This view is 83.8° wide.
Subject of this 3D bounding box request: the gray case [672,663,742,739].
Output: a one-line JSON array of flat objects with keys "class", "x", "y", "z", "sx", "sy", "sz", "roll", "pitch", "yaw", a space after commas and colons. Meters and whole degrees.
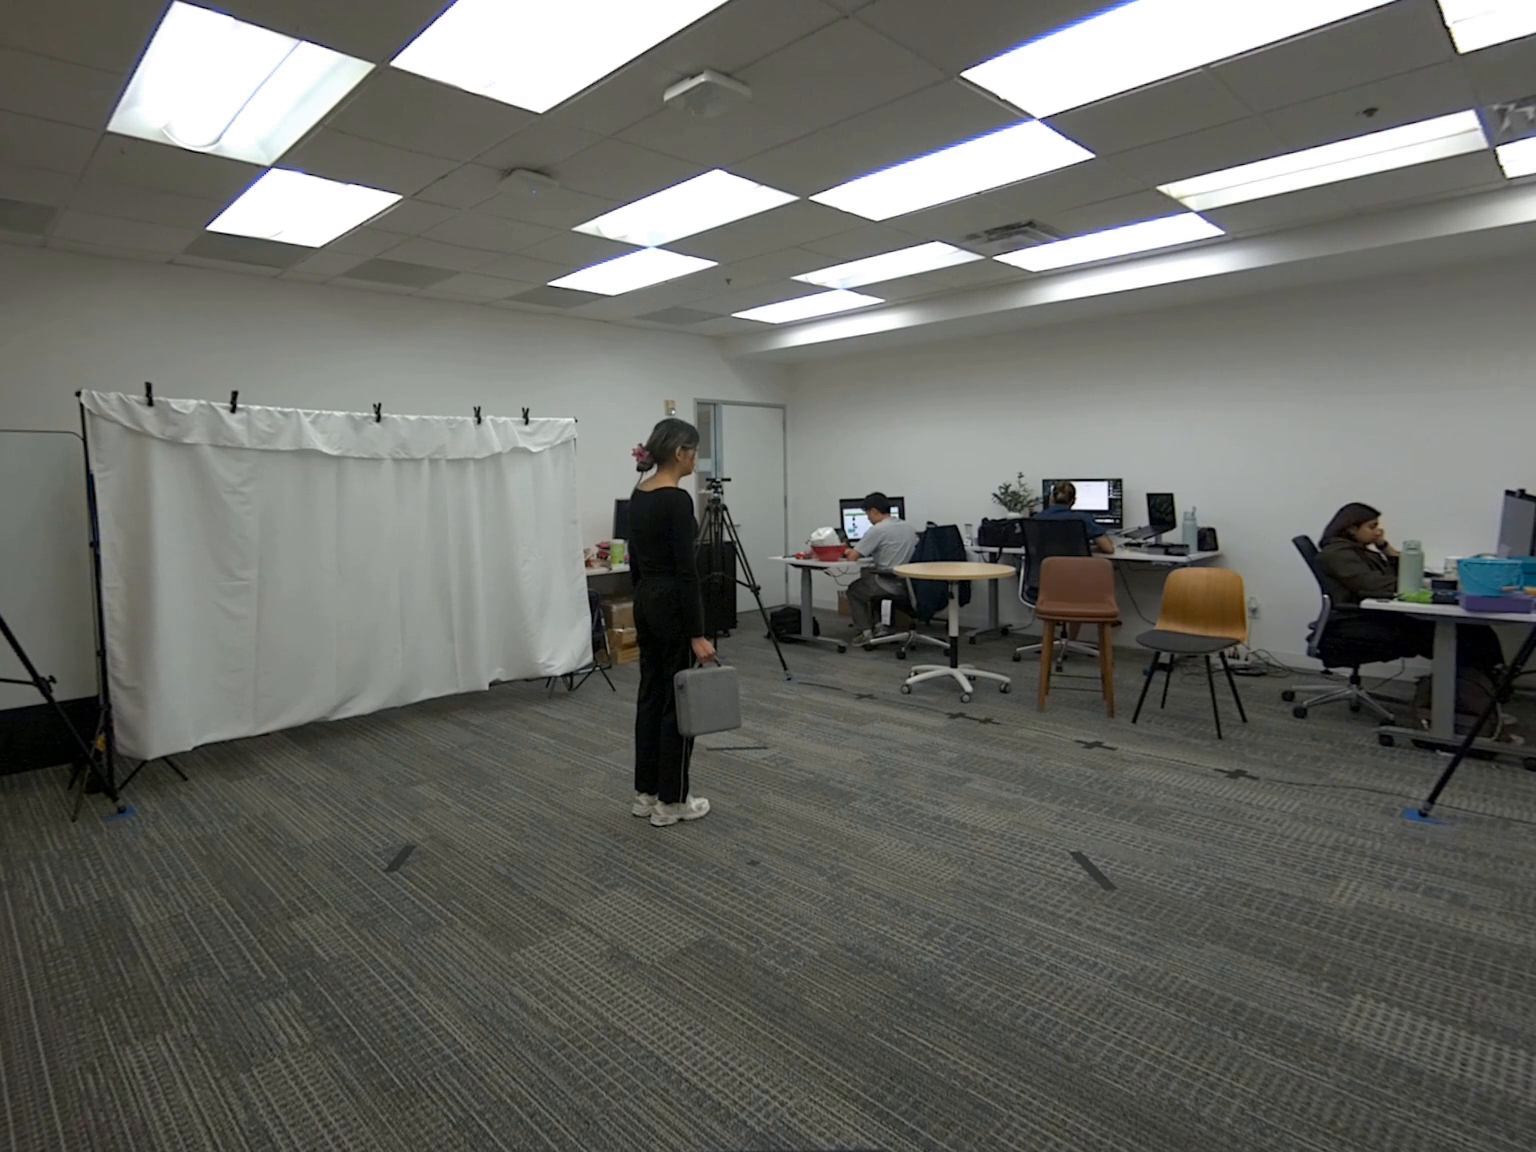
[{"class": "gray case", "x": -0.235, "y": 0.483, "z": 3.365, "sx": 0.250, "sy": 0.261, "sz": 0.107, "roll": -2, "pitch": -3, "yaw": -33}]
